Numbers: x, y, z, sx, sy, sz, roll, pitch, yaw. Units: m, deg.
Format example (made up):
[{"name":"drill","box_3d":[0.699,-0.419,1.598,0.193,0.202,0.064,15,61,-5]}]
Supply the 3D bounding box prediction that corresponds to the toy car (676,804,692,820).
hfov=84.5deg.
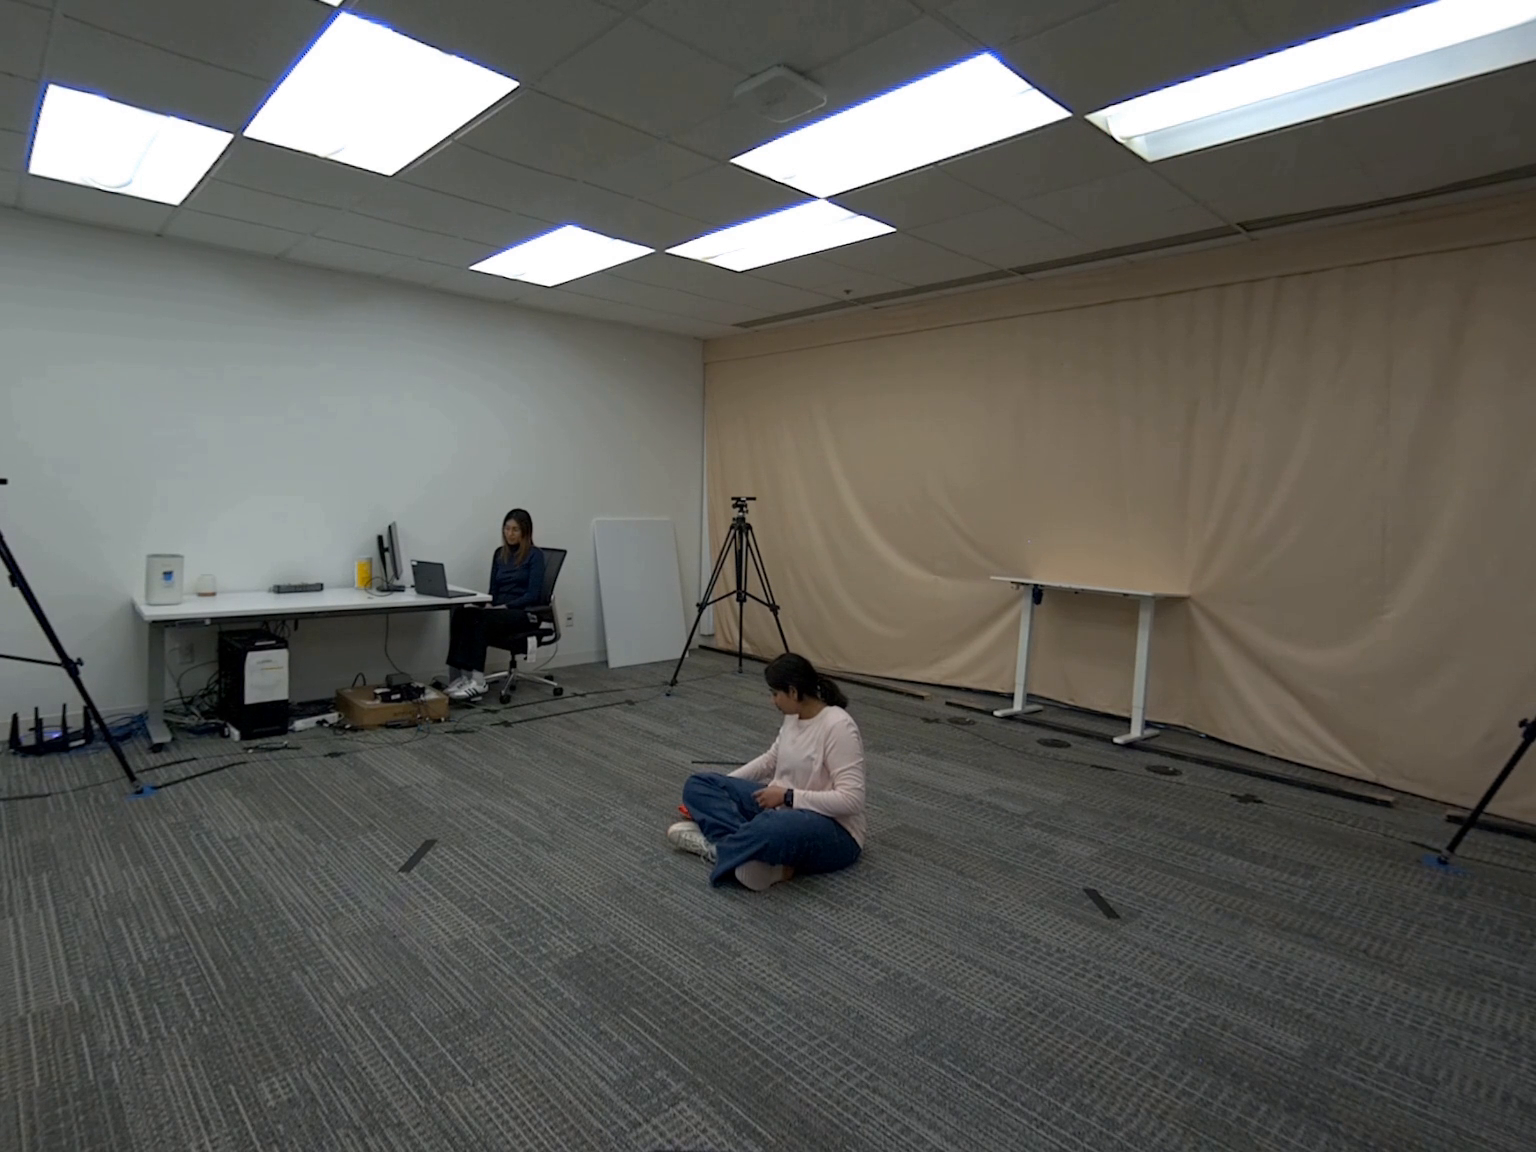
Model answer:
[{"name":"toy car","box_3d":[-0.282,1.016,3.691,0.248,0.083,0.134,11,-2,-40]}]
